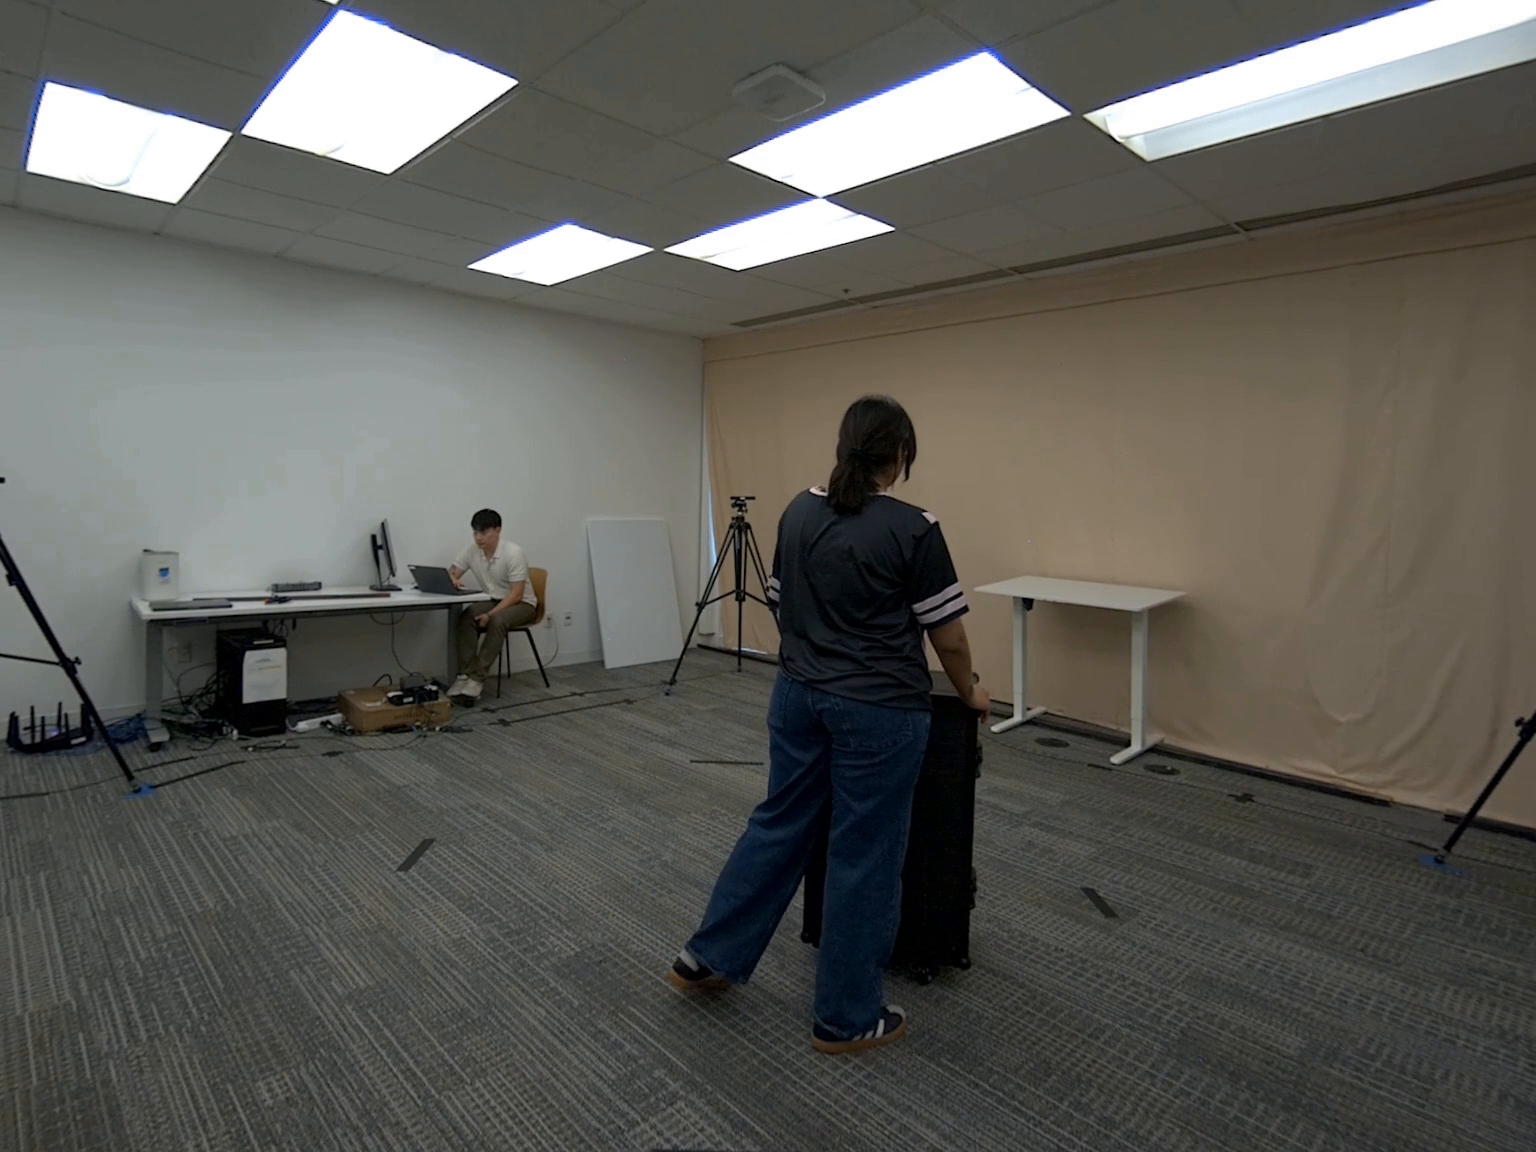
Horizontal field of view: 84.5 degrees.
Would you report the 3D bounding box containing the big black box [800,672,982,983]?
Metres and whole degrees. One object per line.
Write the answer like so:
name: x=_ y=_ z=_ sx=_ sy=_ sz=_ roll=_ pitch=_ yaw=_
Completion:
big black box: x=0.373 y=0.741 z=2.608 sx=0.529 sy=0.867 sz=0.382 roll=3 pitch=3 yaw=12
